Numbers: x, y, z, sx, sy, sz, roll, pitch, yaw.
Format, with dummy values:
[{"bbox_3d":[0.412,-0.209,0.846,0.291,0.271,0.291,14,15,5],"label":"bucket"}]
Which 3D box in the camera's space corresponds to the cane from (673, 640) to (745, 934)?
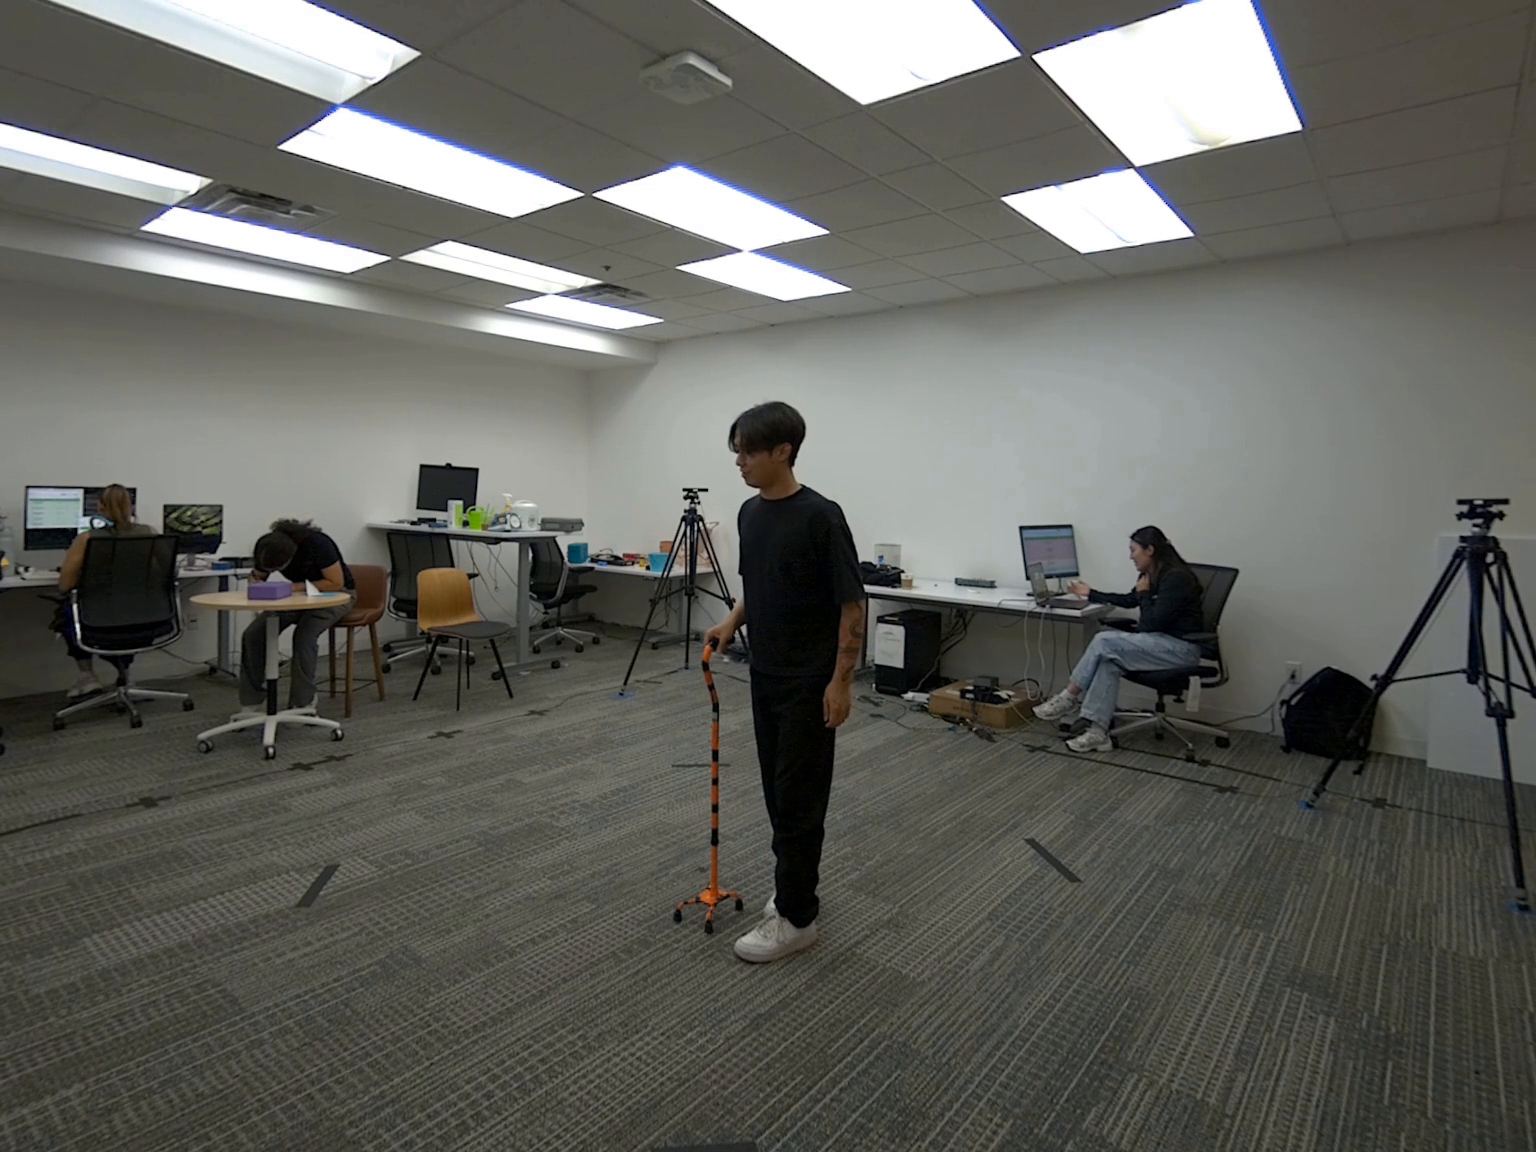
[{"bbox_3d":[-0.202,0.650,2.748,0.156,0.904,0.201,2,5,29],"label":"cane"}]
